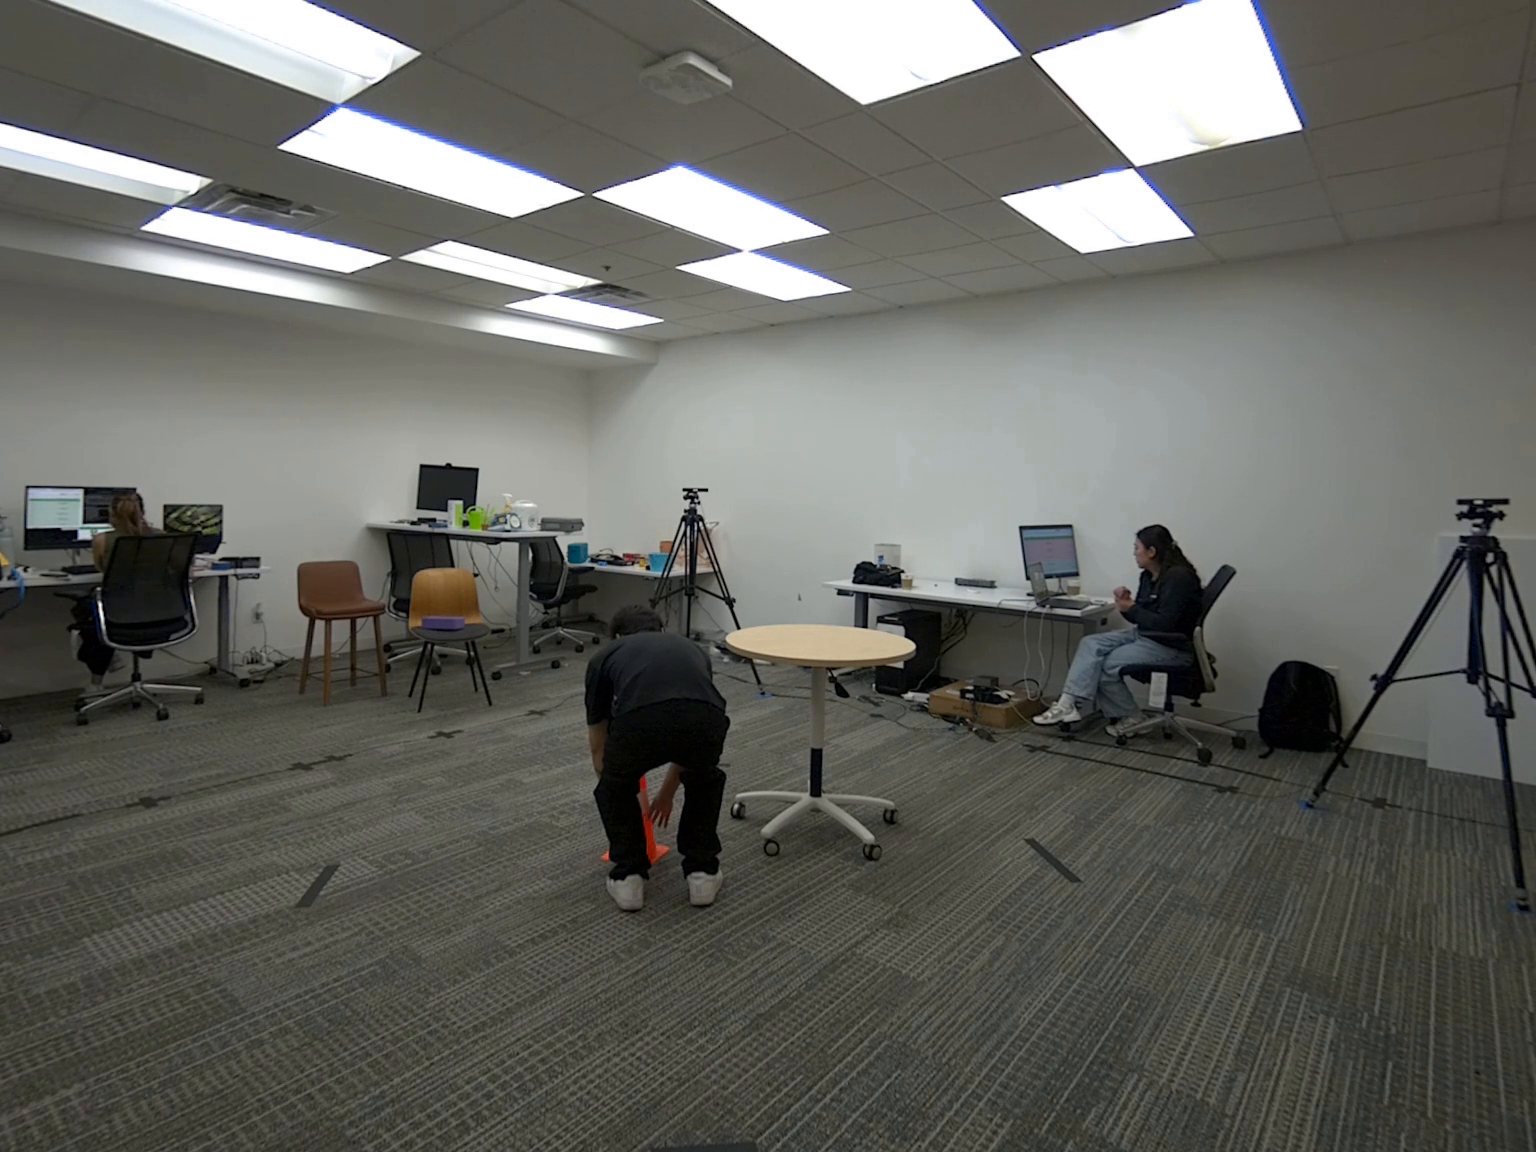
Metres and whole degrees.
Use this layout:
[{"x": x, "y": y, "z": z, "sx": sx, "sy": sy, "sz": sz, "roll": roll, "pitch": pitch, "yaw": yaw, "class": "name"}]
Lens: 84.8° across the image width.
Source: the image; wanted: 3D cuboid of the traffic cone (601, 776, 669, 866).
[{"x": -0.501, "y": 0.863, "z": 3.228, "sx": 0.209, "sy": 0.383, "sz": 0.200, "roll": 4, "pitch": 3, "yaw": 26, "class": "traffic cone"}]
